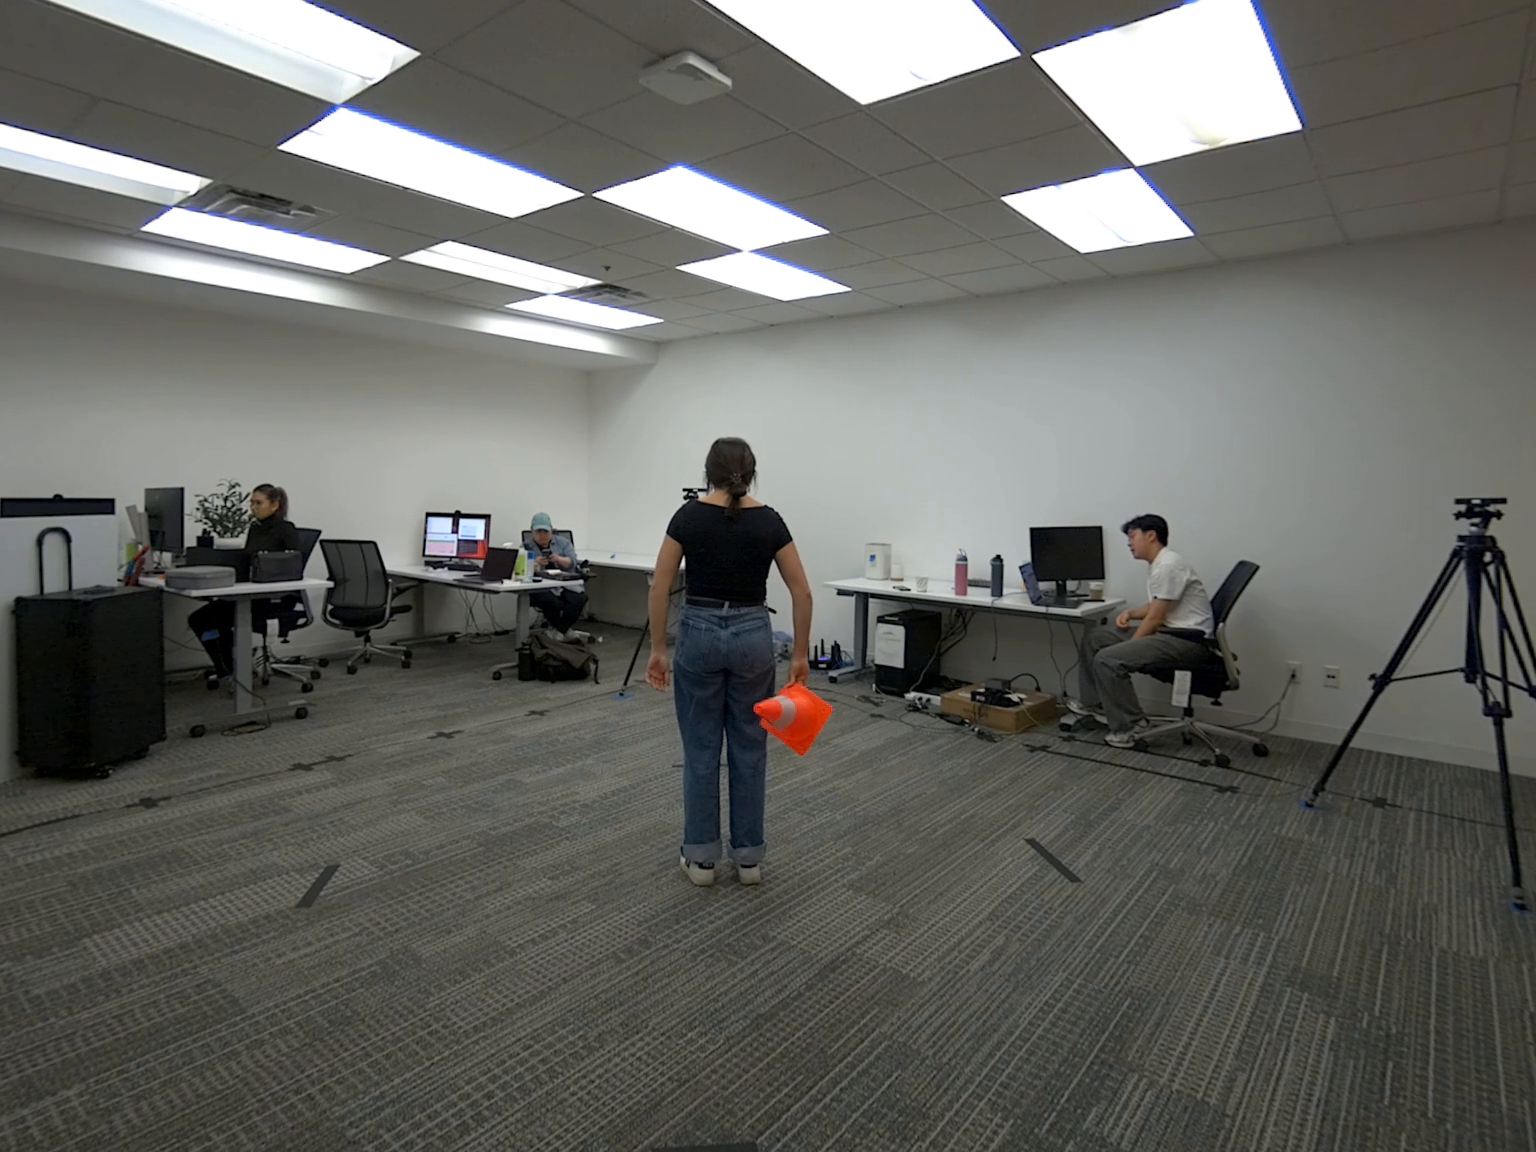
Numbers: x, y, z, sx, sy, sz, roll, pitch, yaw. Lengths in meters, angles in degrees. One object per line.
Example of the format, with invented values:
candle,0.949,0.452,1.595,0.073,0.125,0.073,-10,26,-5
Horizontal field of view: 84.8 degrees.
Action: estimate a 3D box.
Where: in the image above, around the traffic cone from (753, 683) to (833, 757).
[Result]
traffic cone,0.025,0.426,2.770,0.210,0.205,0.371,27,-2,26
